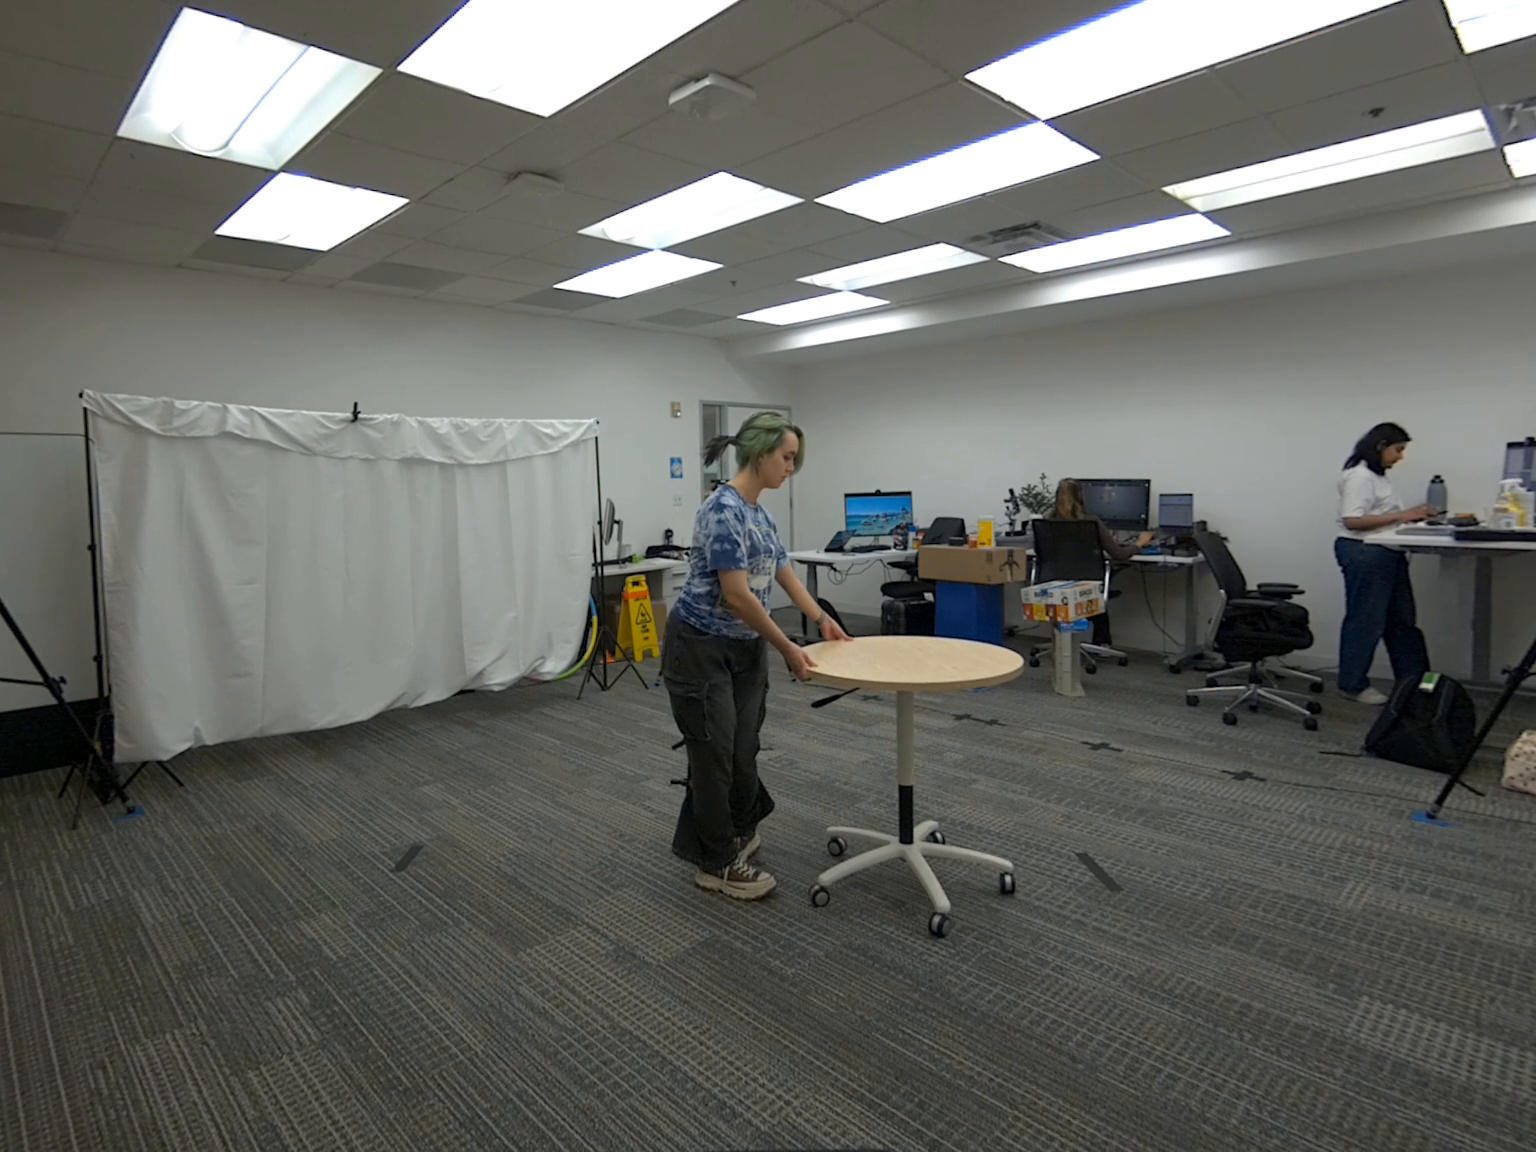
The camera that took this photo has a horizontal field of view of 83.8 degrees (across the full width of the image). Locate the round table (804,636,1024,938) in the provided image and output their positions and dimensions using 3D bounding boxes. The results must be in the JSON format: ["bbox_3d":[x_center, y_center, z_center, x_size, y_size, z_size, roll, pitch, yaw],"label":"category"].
[{"bbox_3d":[0.467,0.668,2.921,0.763,0.791,0.768,-1,5,-2],"label":"round table"}]
